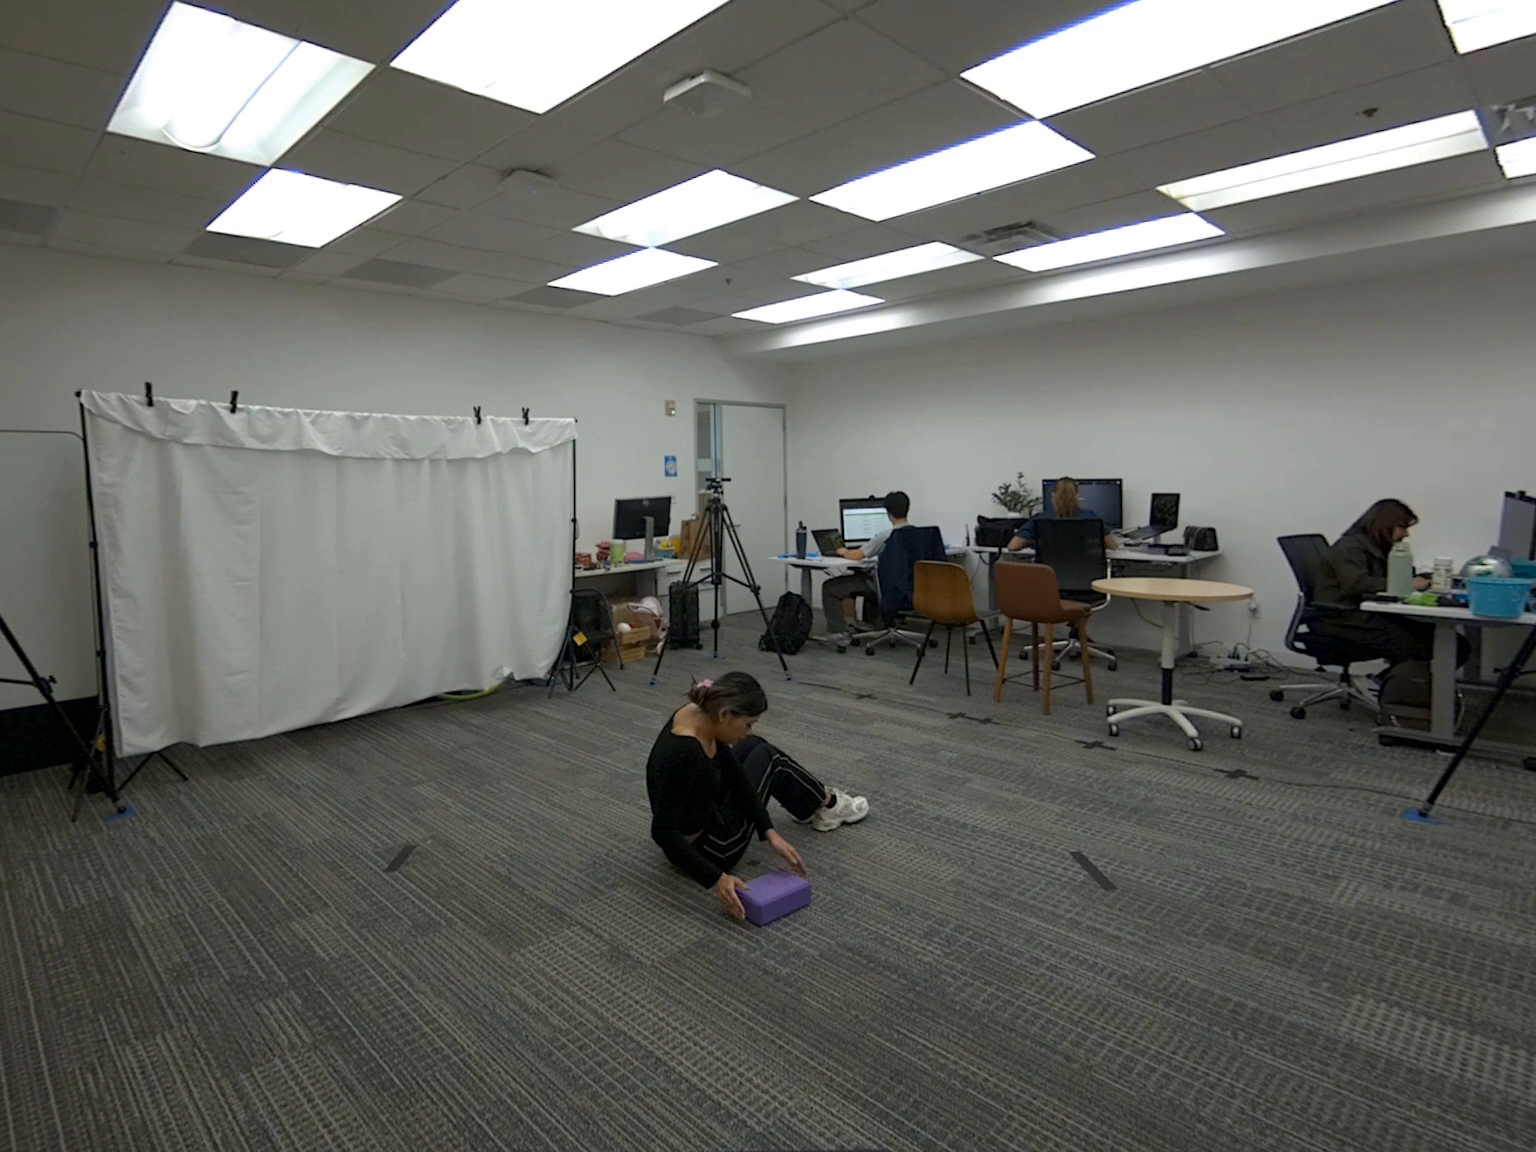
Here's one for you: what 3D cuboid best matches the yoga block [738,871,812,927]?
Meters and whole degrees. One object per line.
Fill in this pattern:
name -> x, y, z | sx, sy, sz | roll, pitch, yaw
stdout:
yoga block -> 0.007, 1.041, 2.772 | 0.223, 0.076, 0.154 | -5, 8, -39
